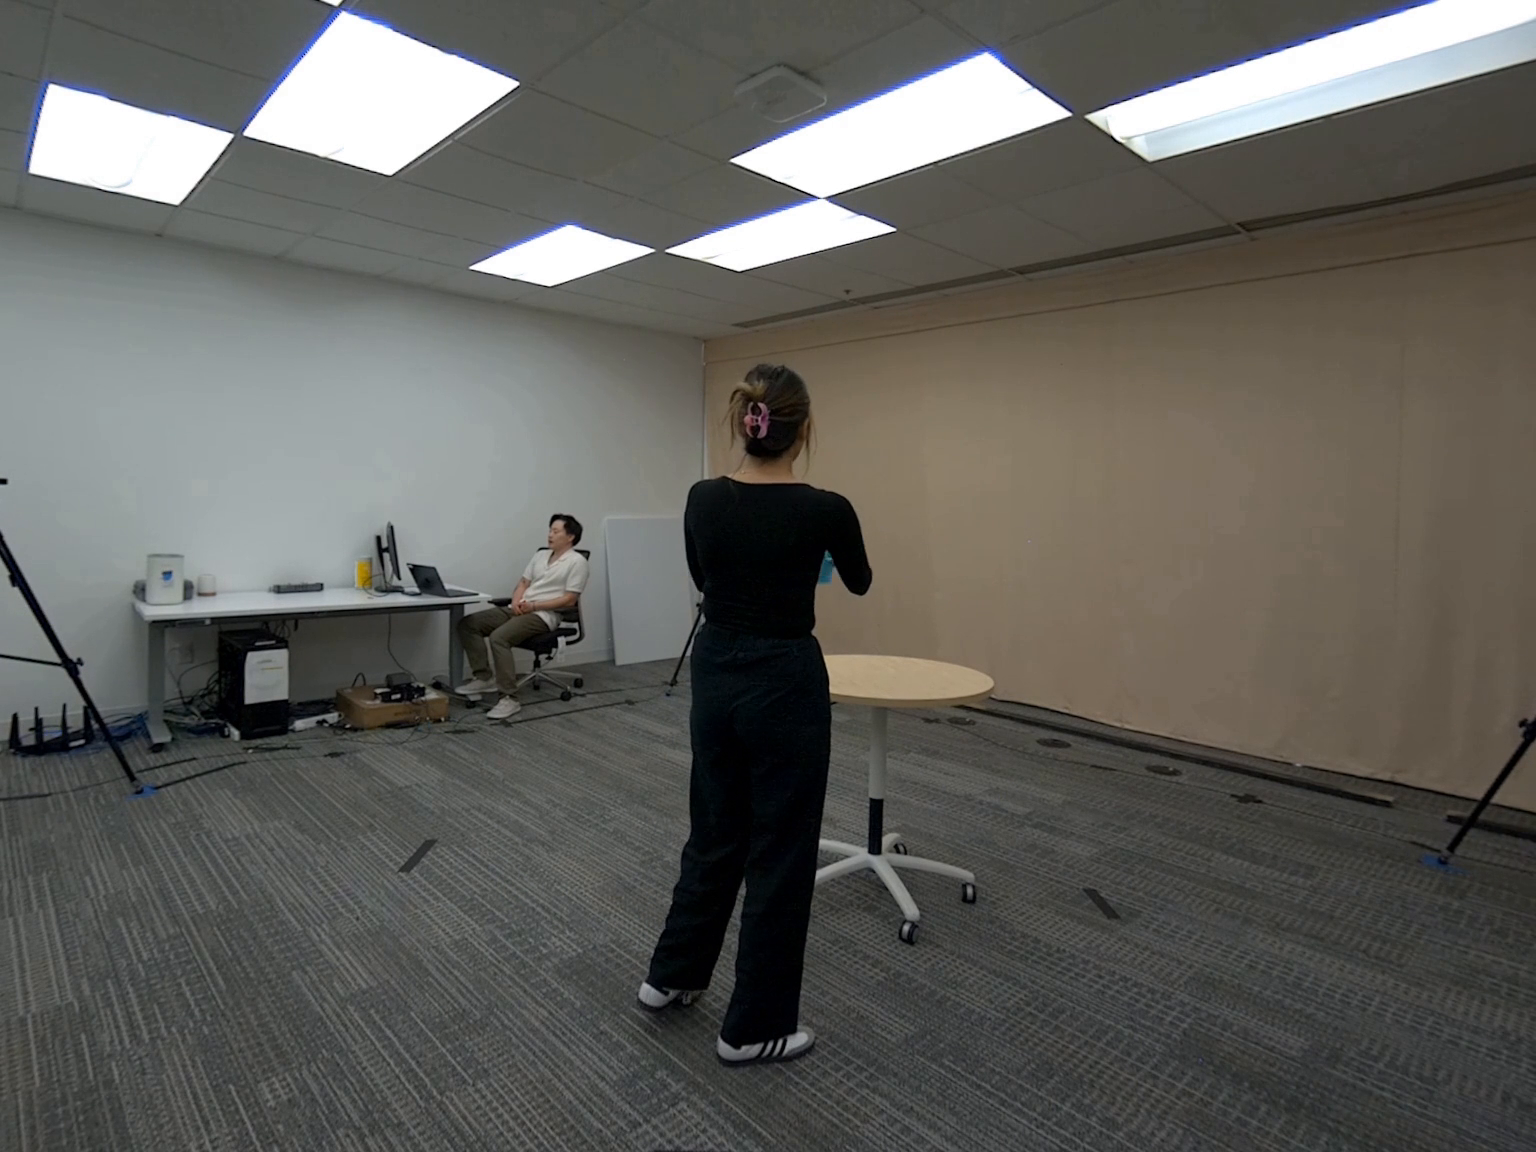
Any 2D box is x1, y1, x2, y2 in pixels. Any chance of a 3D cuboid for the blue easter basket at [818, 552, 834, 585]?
[{"bbox_3d":[0.110,-0.051,2.593,0.243,0.156,0.244,2,3,-1],"label":"blue easter basket"}]
